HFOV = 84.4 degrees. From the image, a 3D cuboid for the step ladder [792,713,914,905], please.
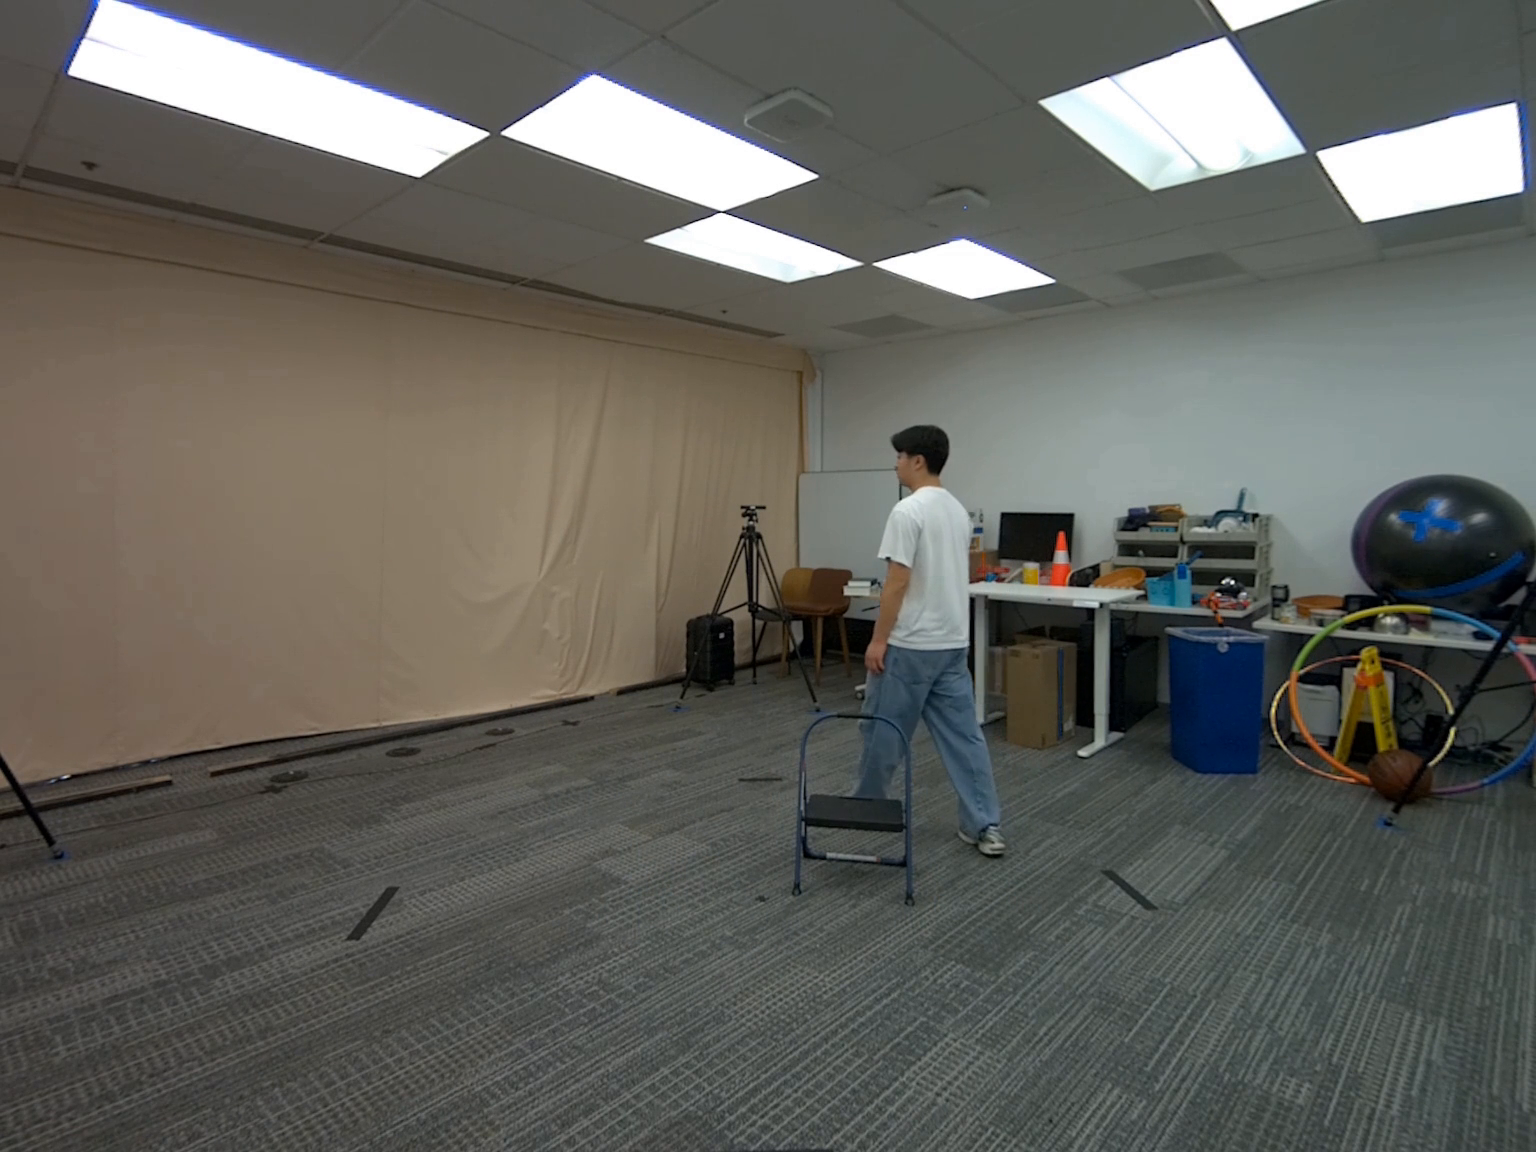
[{"bbox_3d":[0.325,0.826,3.126,0.436,0.605,0.346,1,3,10],"label":"step ladder"}]
